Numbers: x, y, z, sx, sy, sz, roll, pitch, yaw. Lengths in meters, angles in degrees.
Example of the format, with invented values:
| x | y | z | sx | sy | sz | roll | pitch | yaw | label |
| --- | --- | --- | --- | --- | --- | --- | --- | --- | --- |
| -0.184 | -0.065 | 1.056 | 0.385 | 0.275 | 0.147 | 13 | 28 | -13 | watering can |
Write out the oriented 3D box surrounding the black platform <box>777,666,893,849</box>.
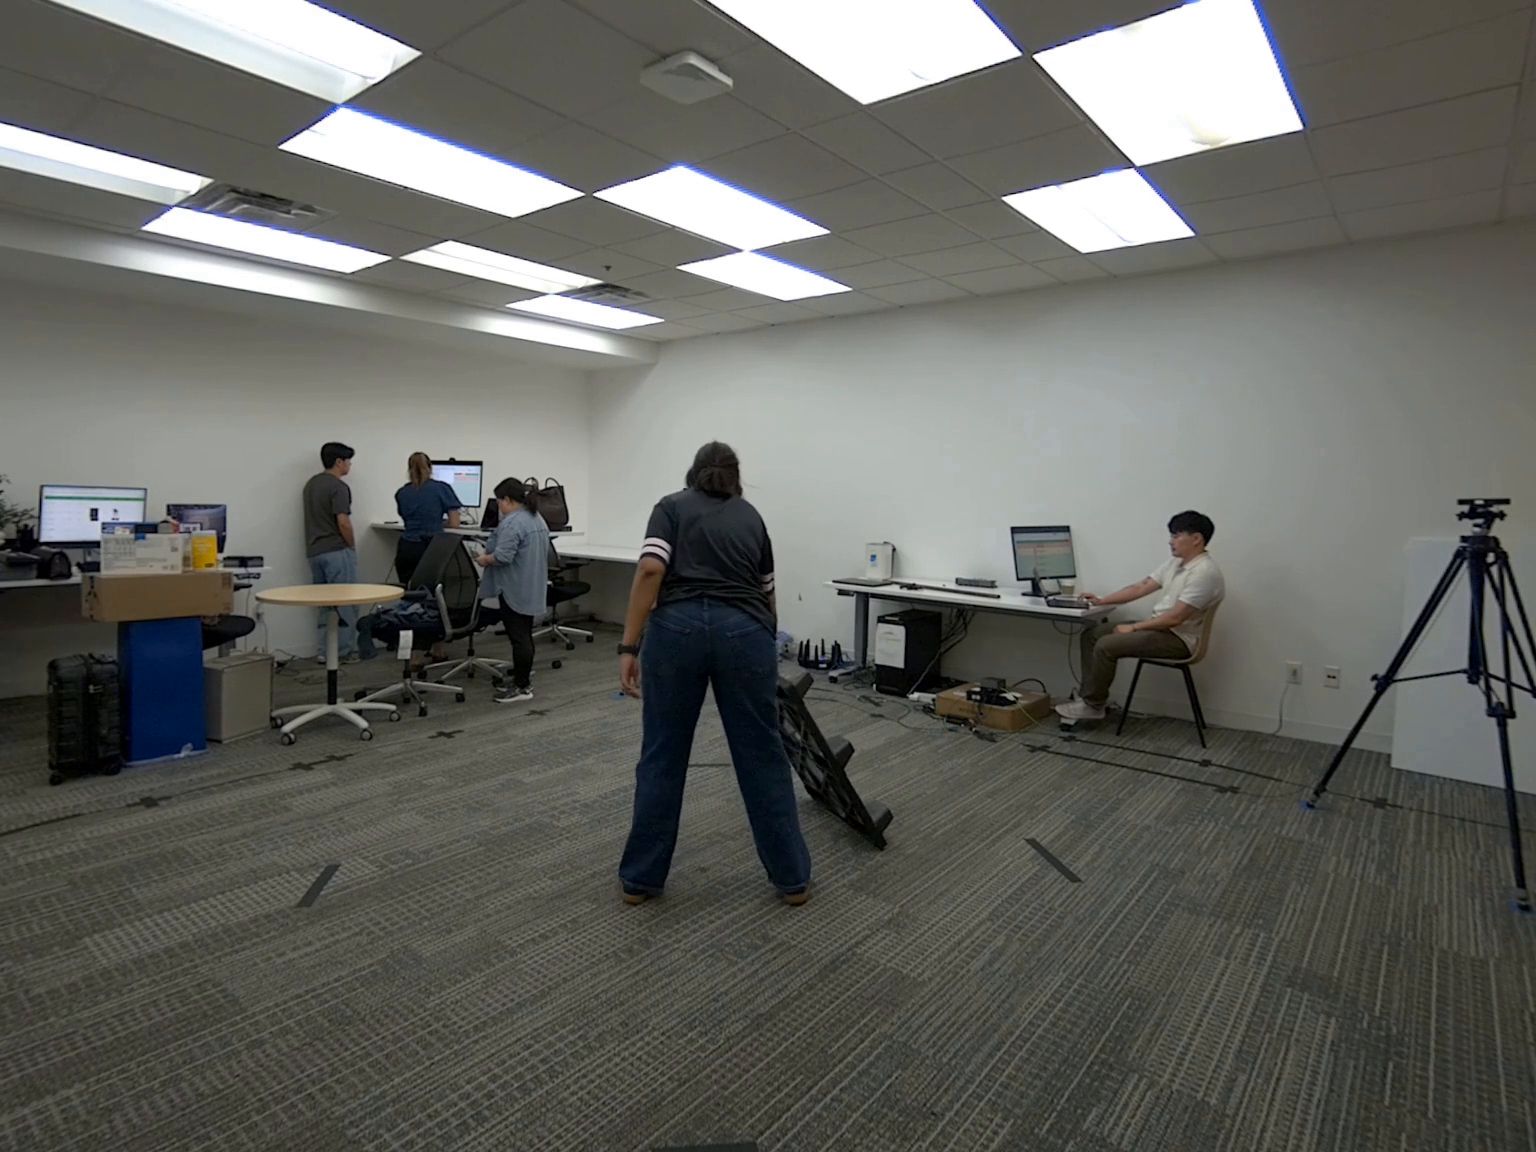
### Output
| x | y | z | sx | sy | sz | roll | pitch | yaw | label |
| --- | --- | --- | --- | --- | --- | --- | --- | --- | --- |
| 0.173 | 0.672 | 3.494 | 0.142 | 0.790 | 0.621 | -34 | 16 | -17 | black platform |
